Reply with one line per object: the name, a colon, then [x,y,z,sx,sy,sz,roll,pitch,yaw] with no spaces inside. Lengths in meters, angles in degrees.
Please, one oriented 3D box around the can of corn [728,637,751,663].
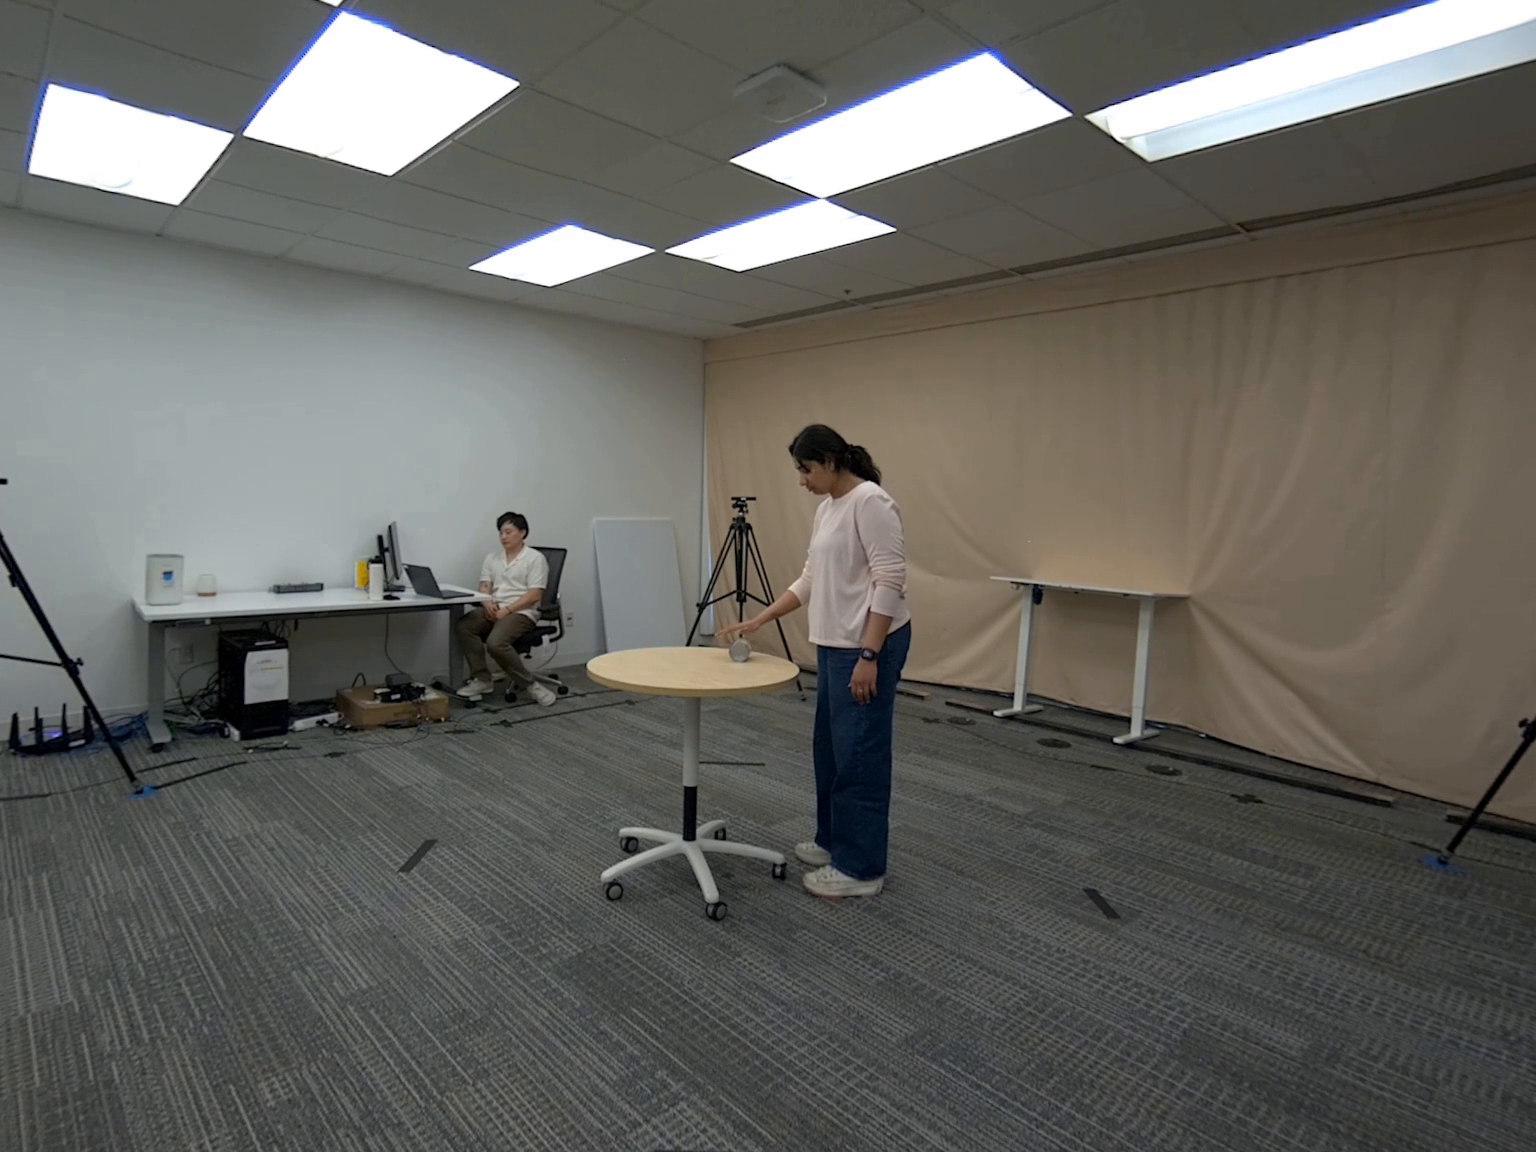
can of corn: [-0.104,0.277,3.194,0.074,0.074,0.111,1,4,0]
